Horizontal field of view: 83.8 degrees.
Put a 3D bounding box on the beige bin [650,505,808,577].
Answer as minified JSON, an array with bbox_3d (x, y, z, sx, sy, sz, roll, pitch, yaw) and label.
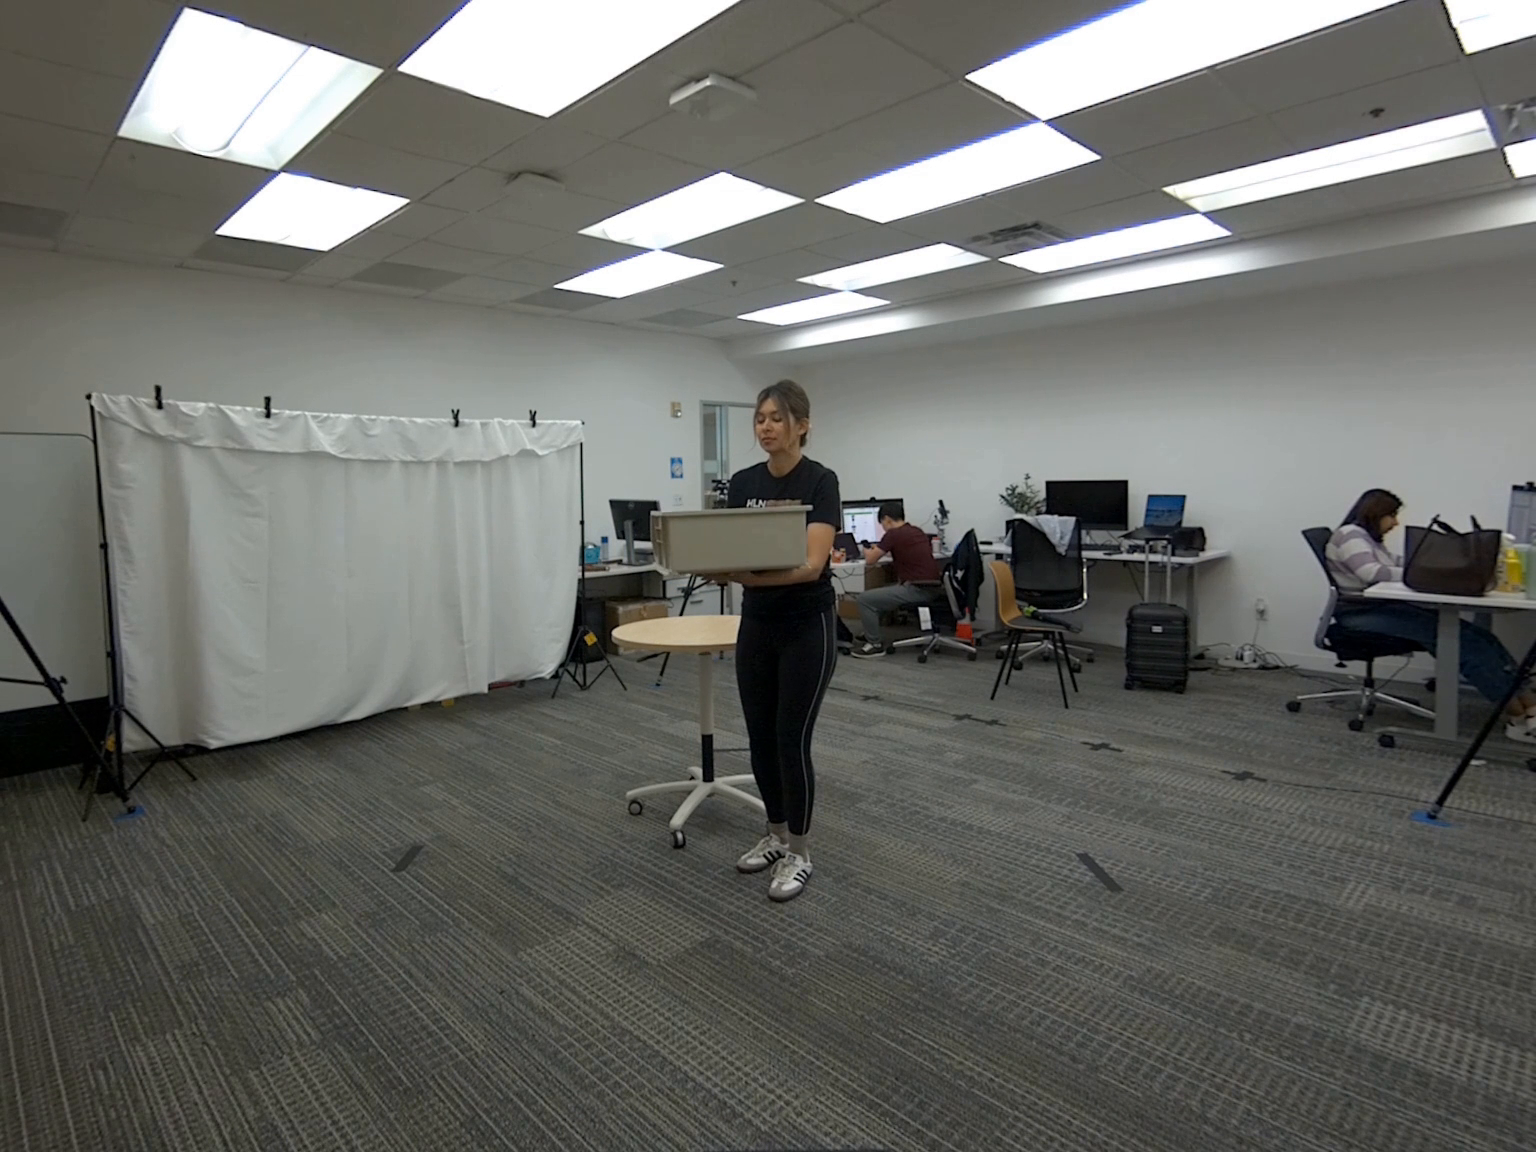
[{"bbox_3d":[-0.118,-0.106,2.552,0.419,0.188,0.382,-3,5,-9],"label":"beige bin"}]
